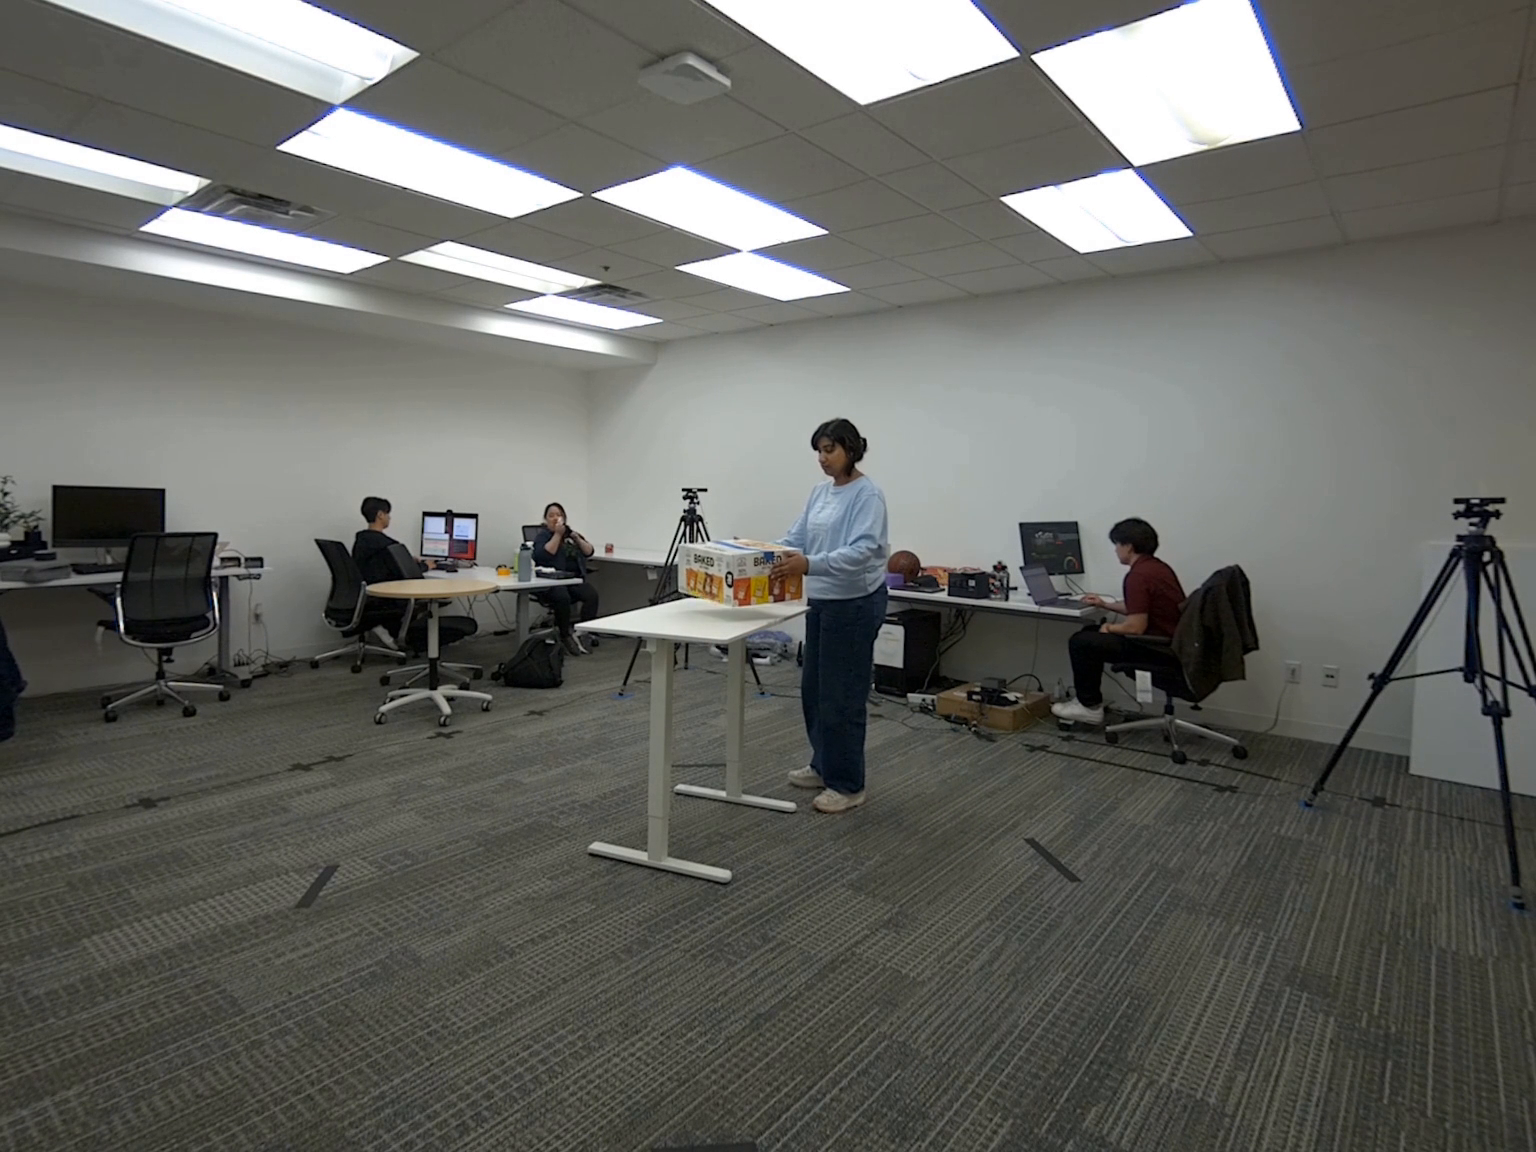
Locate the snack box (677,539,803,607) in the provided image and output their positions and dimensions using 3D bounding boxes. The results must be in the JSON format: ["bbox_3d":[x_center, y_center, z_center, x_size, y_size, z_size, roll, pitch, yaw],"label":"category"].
[{"bbox_3d":[-0.129,-0.024,3.471,0.331,0.204,0.419,-5,10,-35],"label":"snack box"}]
